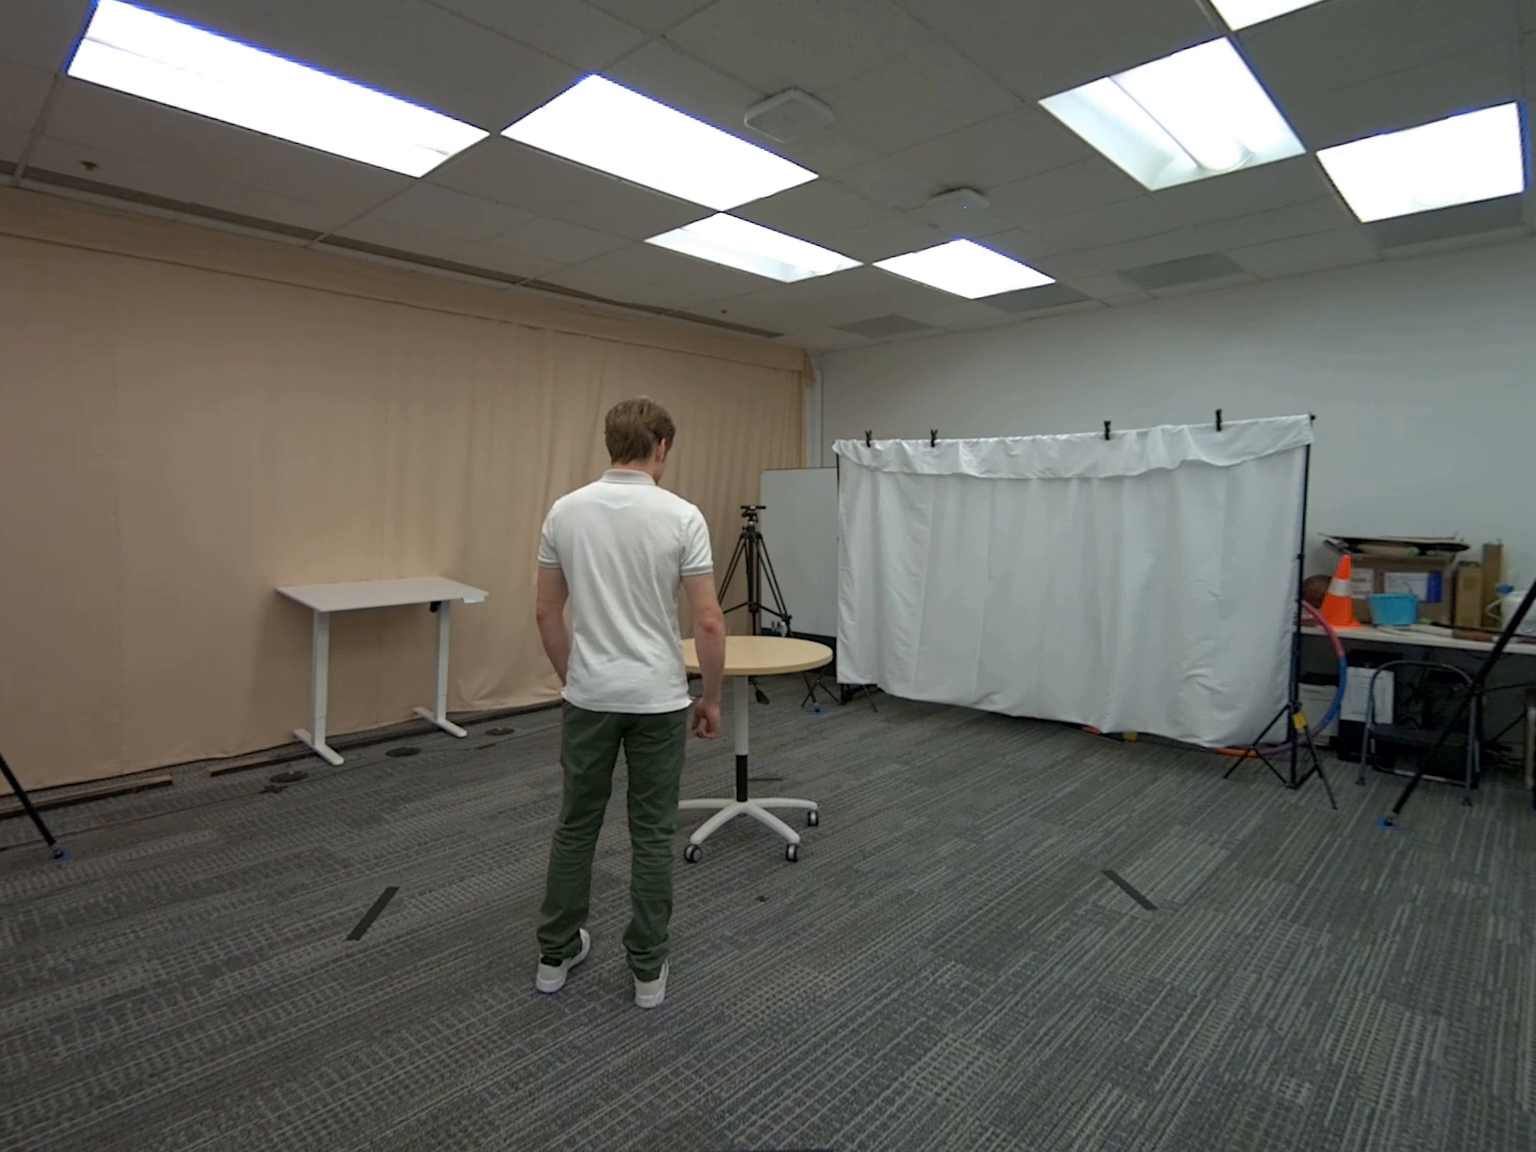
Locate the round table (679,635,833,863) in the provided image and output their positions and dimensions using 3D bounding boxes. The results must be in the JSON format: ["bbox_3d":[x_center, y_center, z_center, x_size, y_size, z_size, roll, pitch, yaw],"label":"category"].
[{"bbox_3d":[-0.106,0.707,3.566,0.763,0.792,0.766,0,4,-2],"label":"round table"}]
